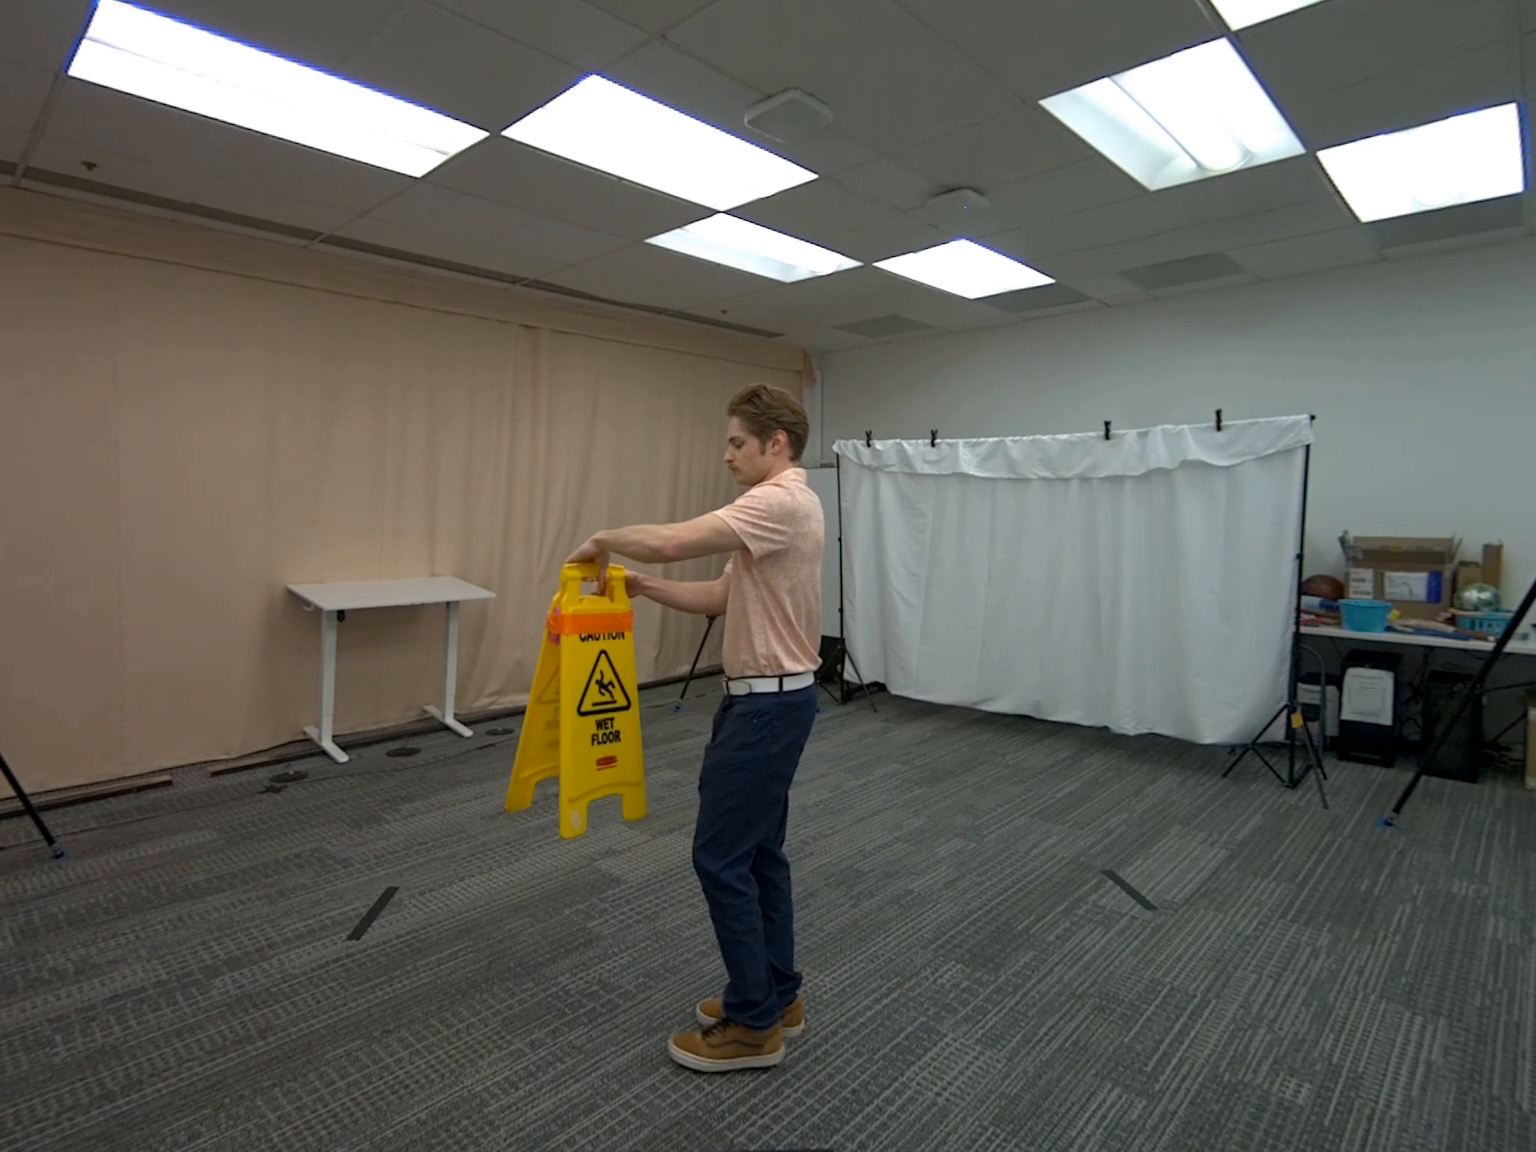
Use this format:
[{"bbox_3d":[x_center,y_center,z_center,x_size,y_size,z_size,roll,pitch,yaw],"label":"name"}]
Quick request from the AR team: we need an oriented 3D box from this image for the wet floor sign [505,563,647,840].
[{"bbox_3d":[-0.472,0.300,2.172,0.299,0.645,0.273,6,2,41],"label":"wet floor sign"}]
